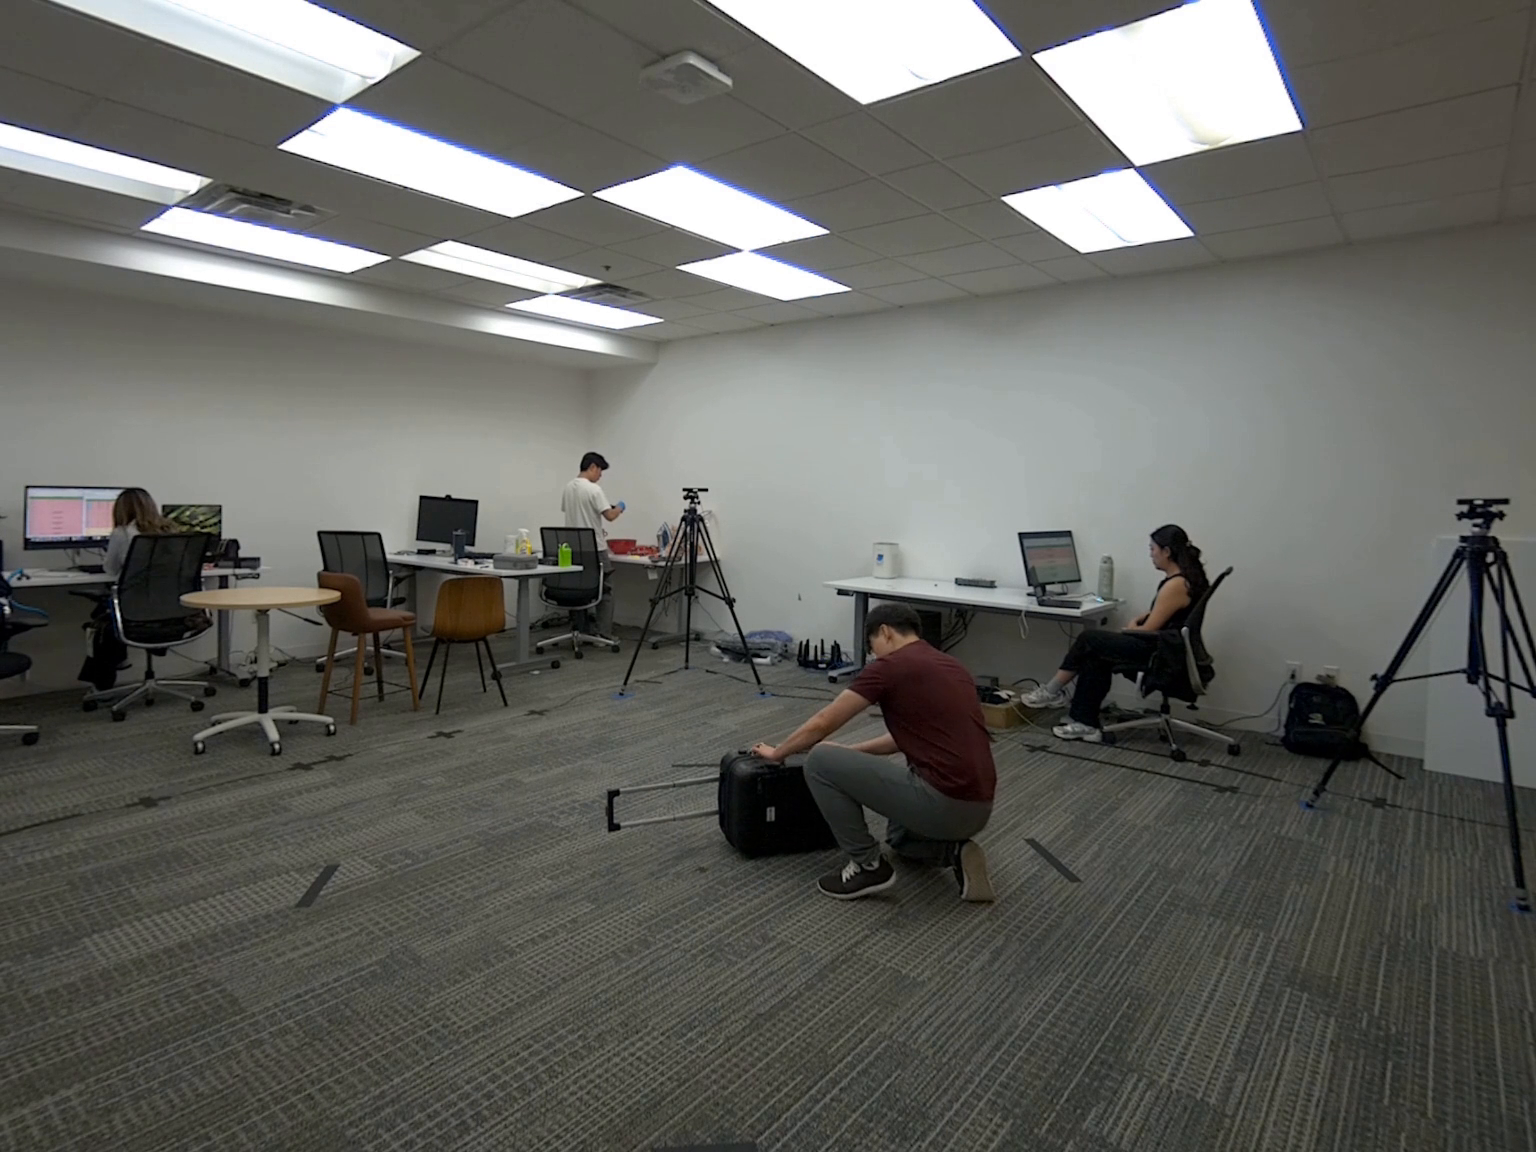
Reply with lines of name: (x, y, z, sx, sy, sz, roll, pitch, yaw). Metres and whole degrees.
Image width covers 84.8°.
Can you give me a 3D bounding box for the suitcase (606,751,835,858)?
suitcase: (-0.124, 0.865, 3.268, 0.956, 0.383, 0.264, -1, 4, -24)
